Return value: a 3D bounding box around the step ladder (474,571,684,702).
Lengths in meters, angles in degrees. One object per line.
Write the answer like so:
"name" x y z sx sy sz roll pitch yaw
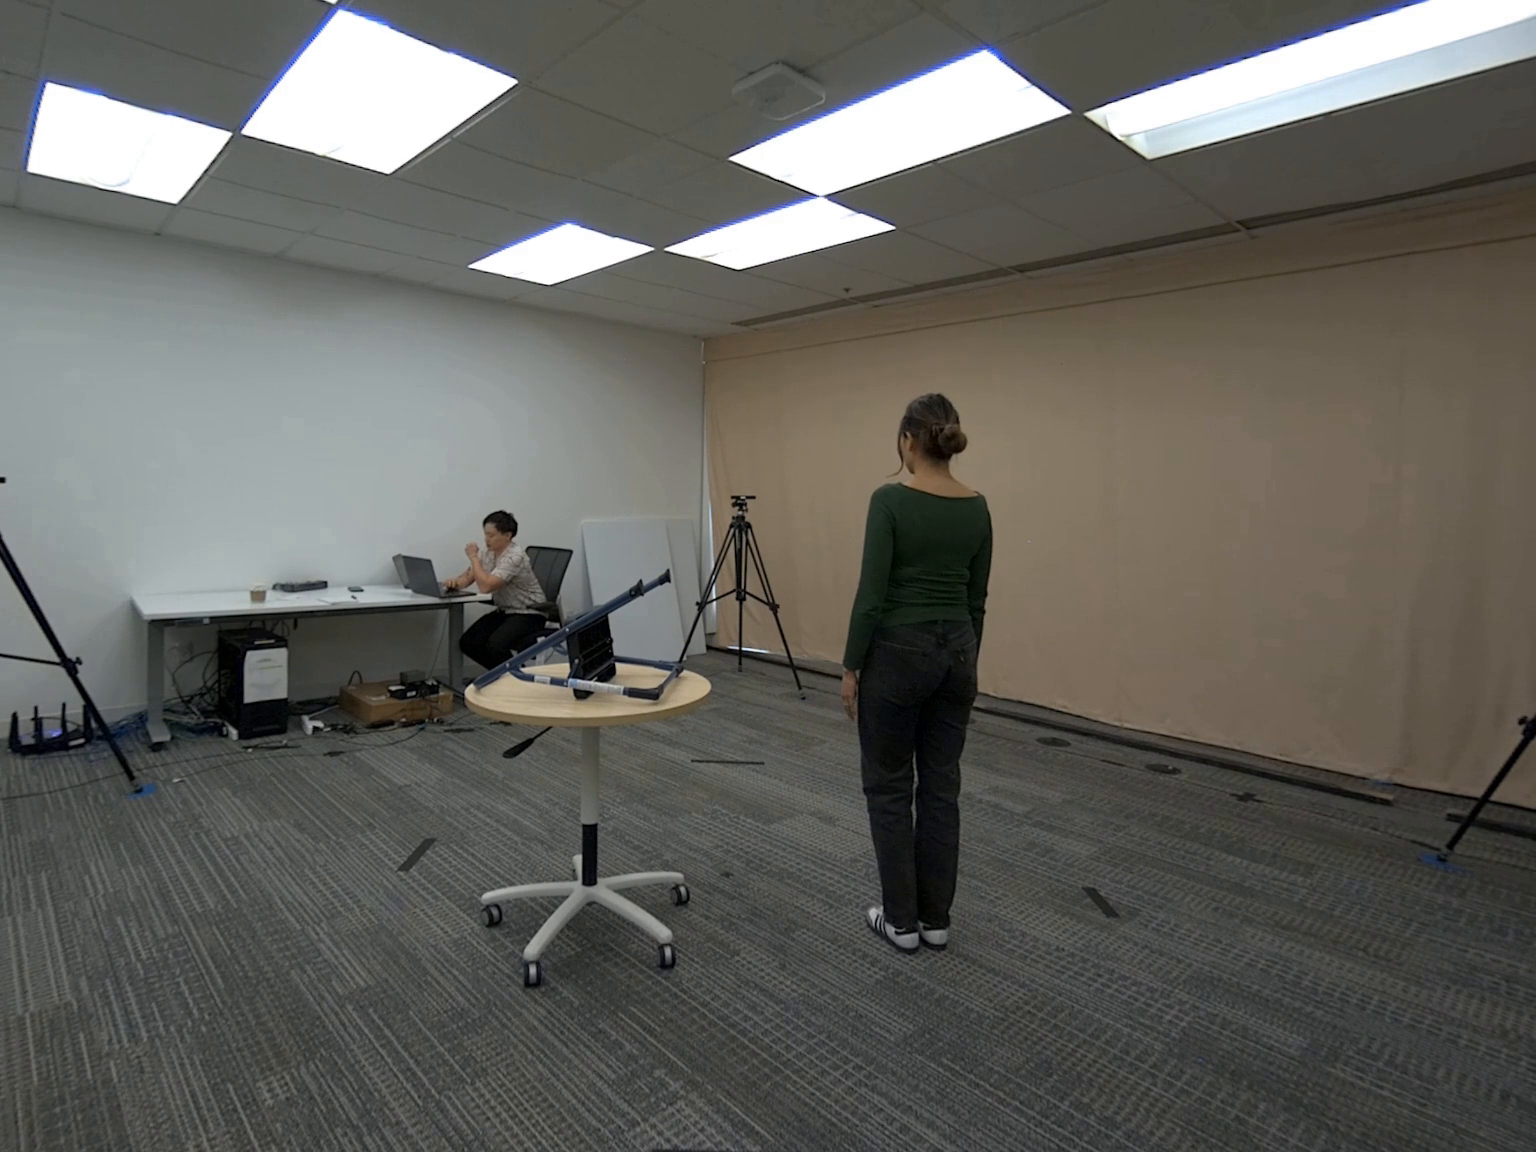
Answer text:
"step ladder" -0.624 0.220 2.651 0.609 0.349 0.429 -9 3 7
